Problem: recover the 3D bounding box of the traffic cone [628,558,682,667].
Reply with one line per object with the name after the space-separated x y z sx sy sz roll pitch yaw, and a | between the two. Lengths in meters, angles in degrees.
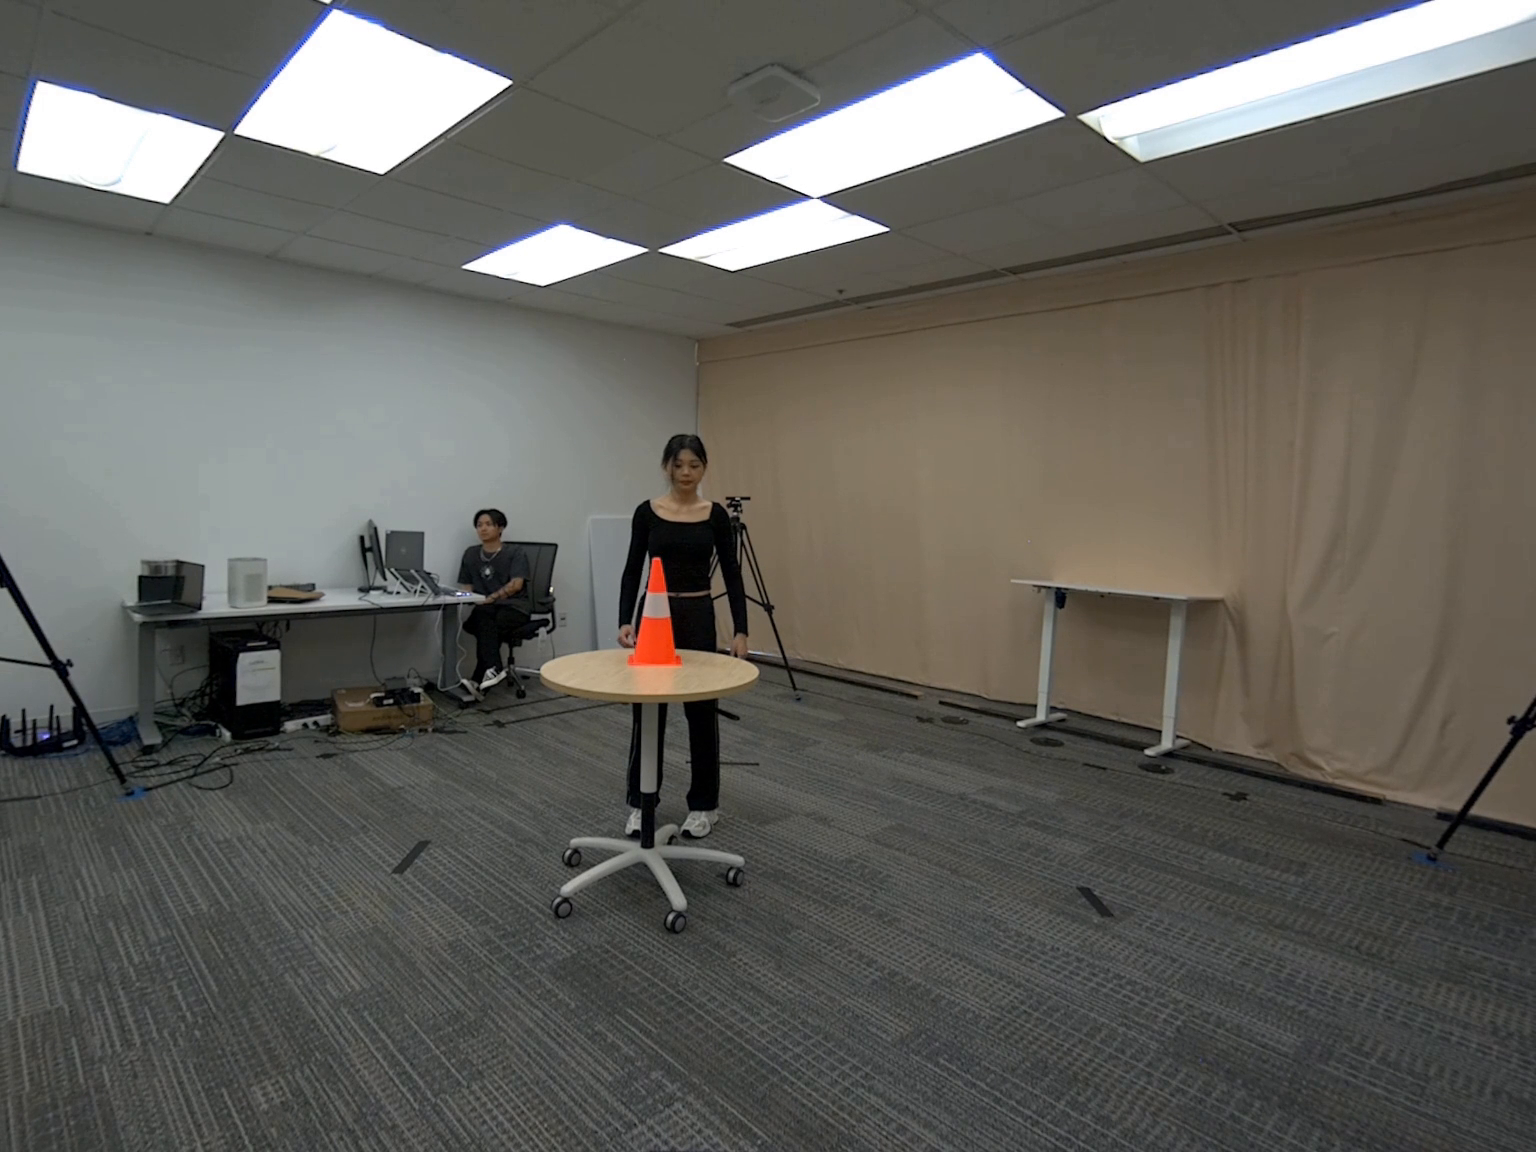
-0.432 0.127 3.111 0.204 0.383 0.205 0 3 -7 | traffic cone
